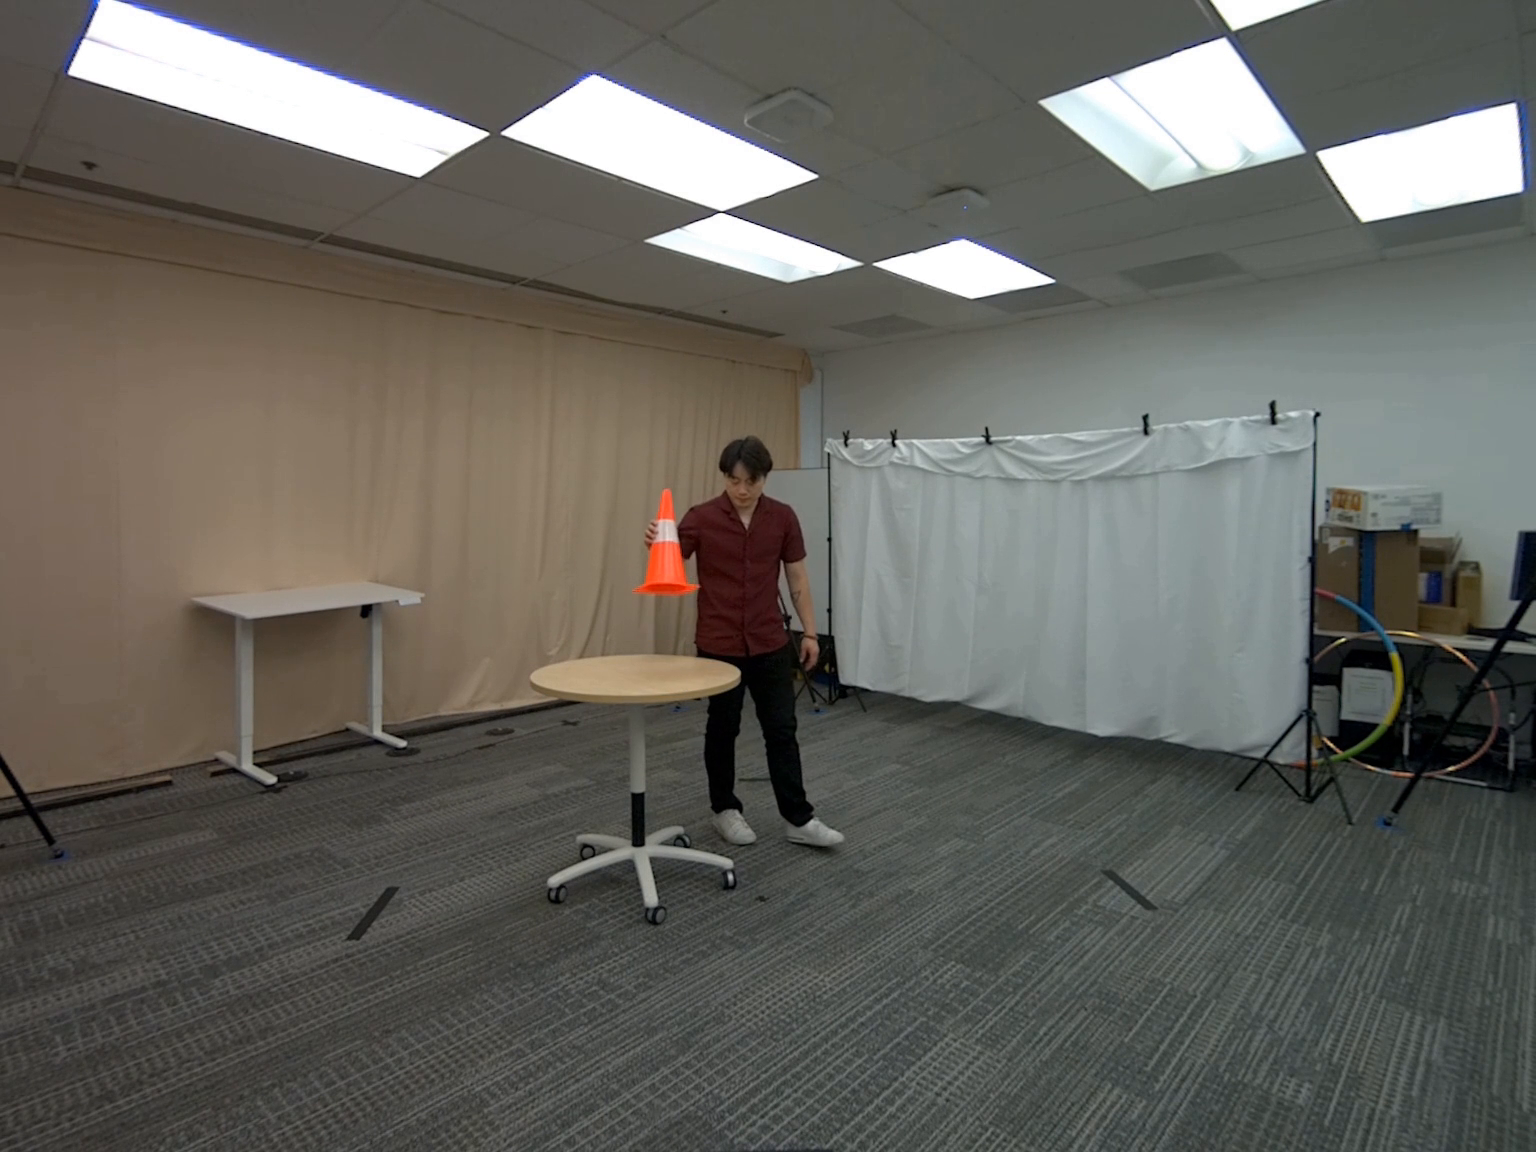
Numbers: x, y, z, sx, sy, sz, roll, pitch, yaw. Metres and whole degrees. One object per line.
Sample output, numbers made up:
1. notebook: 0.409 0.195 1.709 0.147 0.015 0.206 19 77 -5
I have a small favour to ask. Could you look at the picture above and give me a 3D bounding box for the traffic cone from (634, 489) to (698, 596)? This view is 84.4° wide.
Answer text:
1. traffic cone: -0.380 -0.132 3.147 0.196 0.387 0.210 14 -21 -41
